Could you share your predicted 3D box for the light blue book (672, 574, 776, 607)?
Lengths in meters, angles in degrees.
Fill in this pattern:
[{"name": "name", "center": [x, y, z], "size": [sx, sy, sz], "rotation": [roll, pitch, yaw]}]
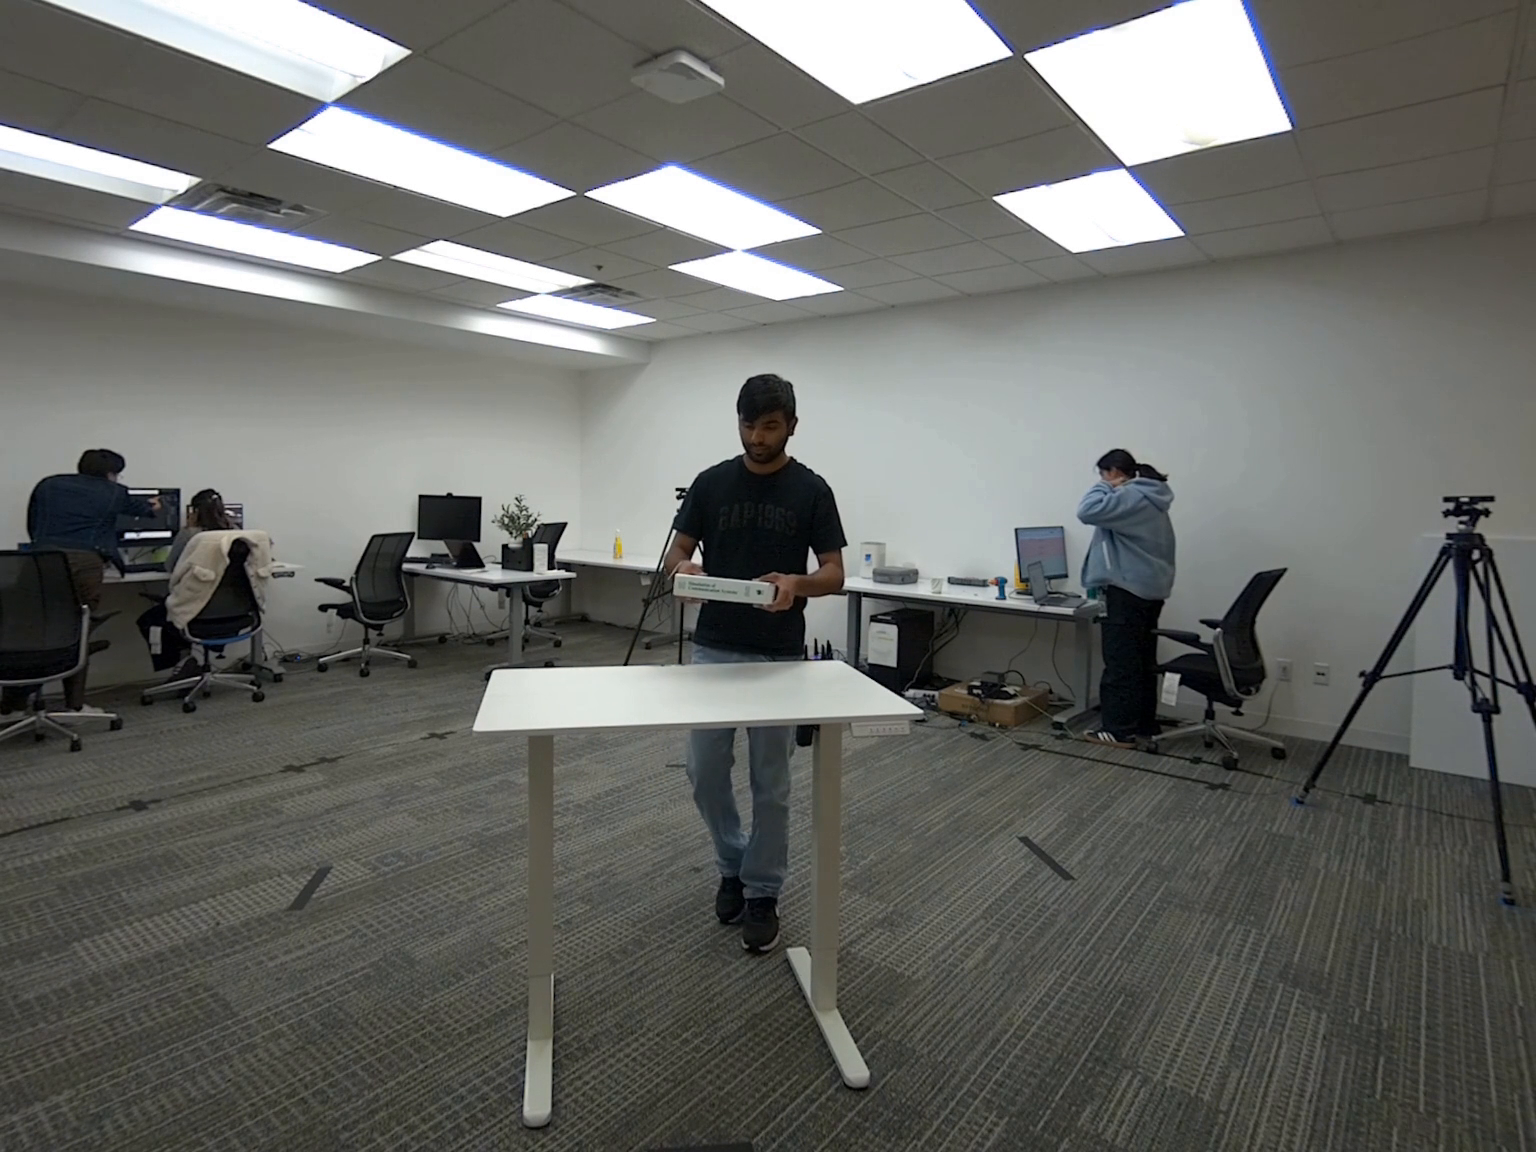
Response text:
[{"name": "light blue book", "center": [-0.128, 0.033, 2.379], "size": [0.263, 0.059, 0.190], "rotation": [4, -1, 6]}]
